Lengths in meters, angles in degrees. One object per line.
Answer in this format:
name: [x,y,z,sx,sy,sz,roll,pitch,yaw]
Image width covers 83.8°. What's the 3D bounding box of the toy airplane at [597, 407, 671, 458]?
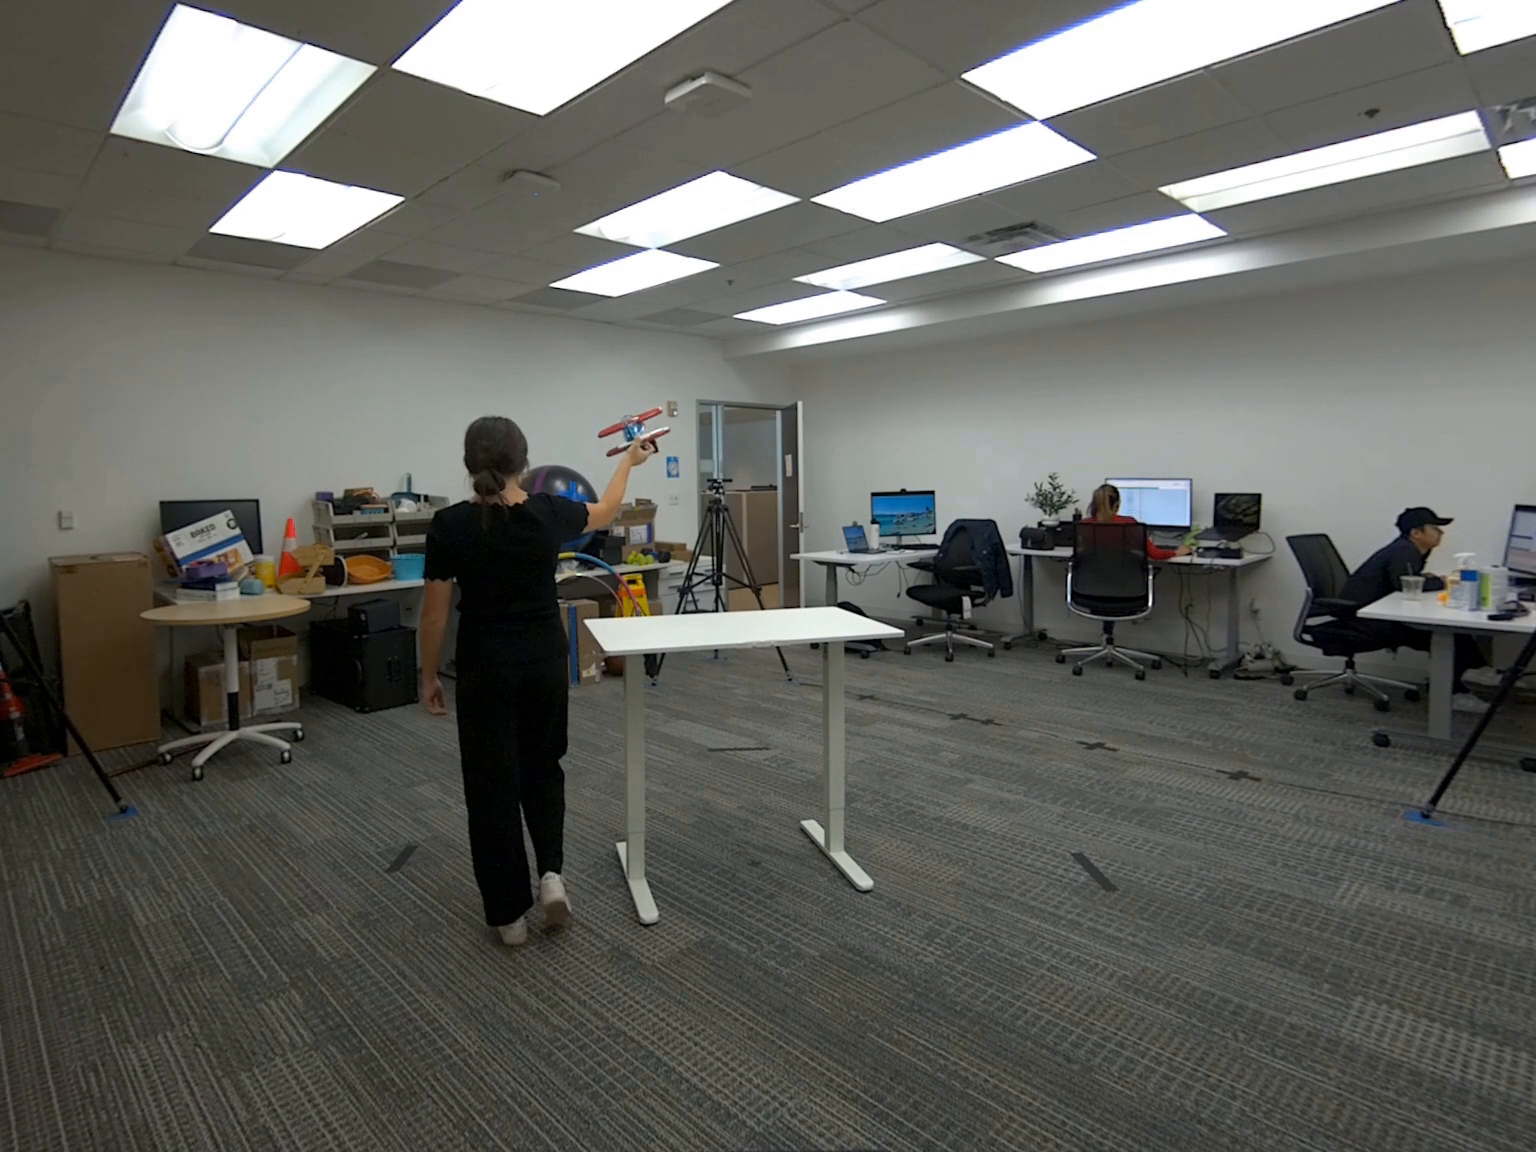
toy airplane: [-0.464,-0.513,3.112,0.248,0.155,0.264,-26,7,-26]
